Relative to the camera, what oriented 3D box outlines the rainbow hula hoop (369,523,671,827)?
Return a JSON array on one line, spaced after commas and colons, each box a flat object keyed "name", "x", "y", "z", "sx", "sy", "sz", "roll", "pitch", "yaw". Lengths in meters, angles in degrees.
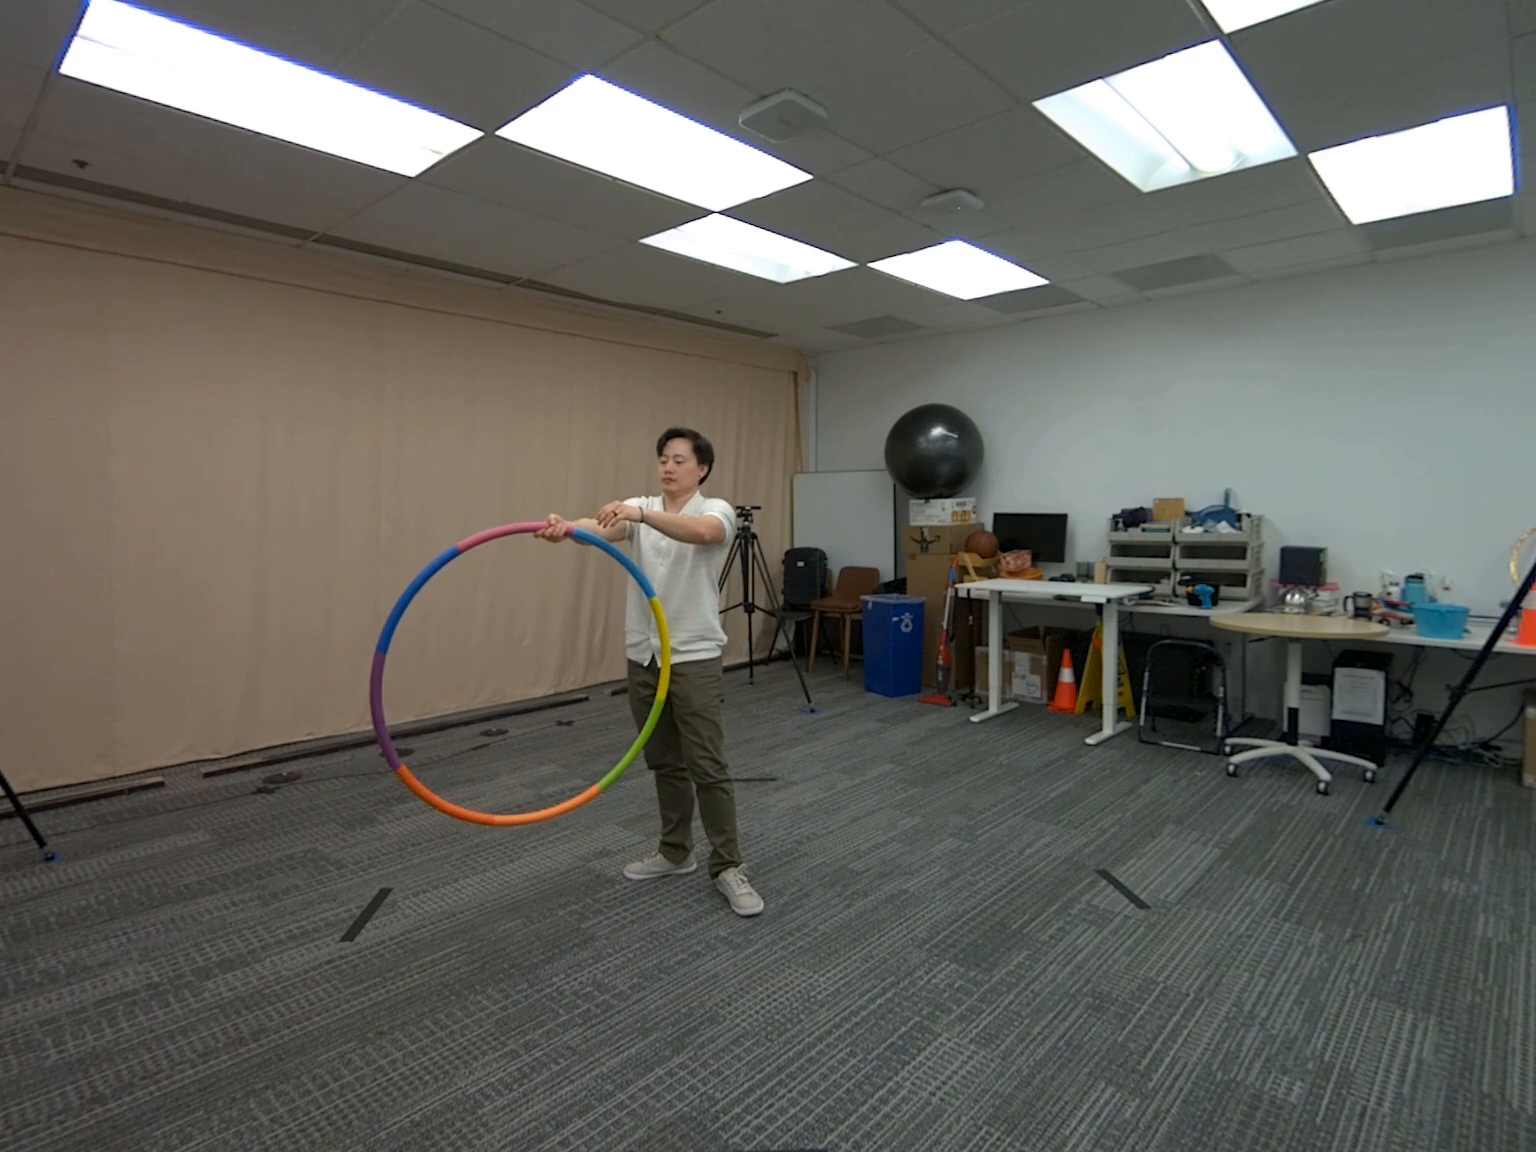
[{"name": "rainbow hula hoop", "x": -0.760, "y": 0.321, "z": 2.697, "sx": 0.953, "sy": 0.974, "sz": 0.037, "roll": -2, "pitch": 9, "yaw": -29}]
